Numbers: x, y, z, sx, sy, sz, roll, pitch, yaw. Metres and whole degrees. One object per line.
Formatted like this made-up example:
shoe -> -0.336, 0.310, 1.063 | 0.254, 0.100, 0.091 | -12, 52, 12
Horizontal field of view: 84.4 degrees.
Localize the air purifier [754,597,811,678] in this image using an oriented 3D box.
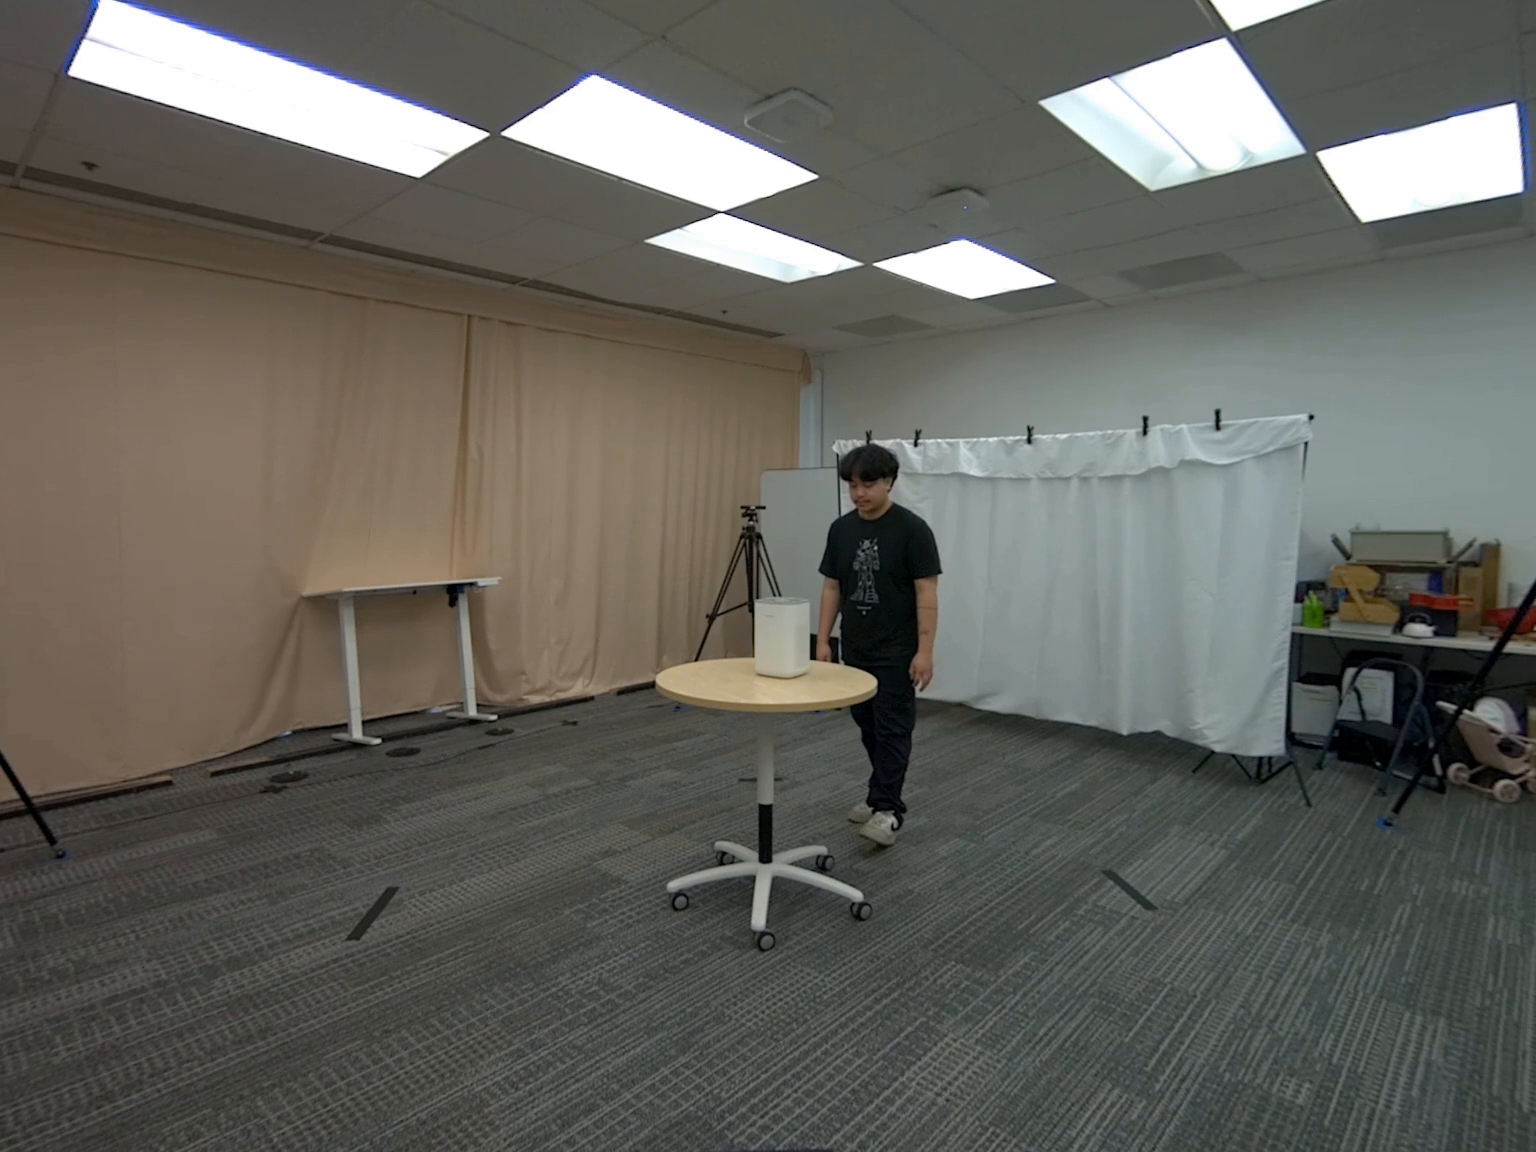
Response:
air purifier -> 0.054, 0.215, 2.989 | 0.176, 0.265, 0.167 | 2, 4, 32
